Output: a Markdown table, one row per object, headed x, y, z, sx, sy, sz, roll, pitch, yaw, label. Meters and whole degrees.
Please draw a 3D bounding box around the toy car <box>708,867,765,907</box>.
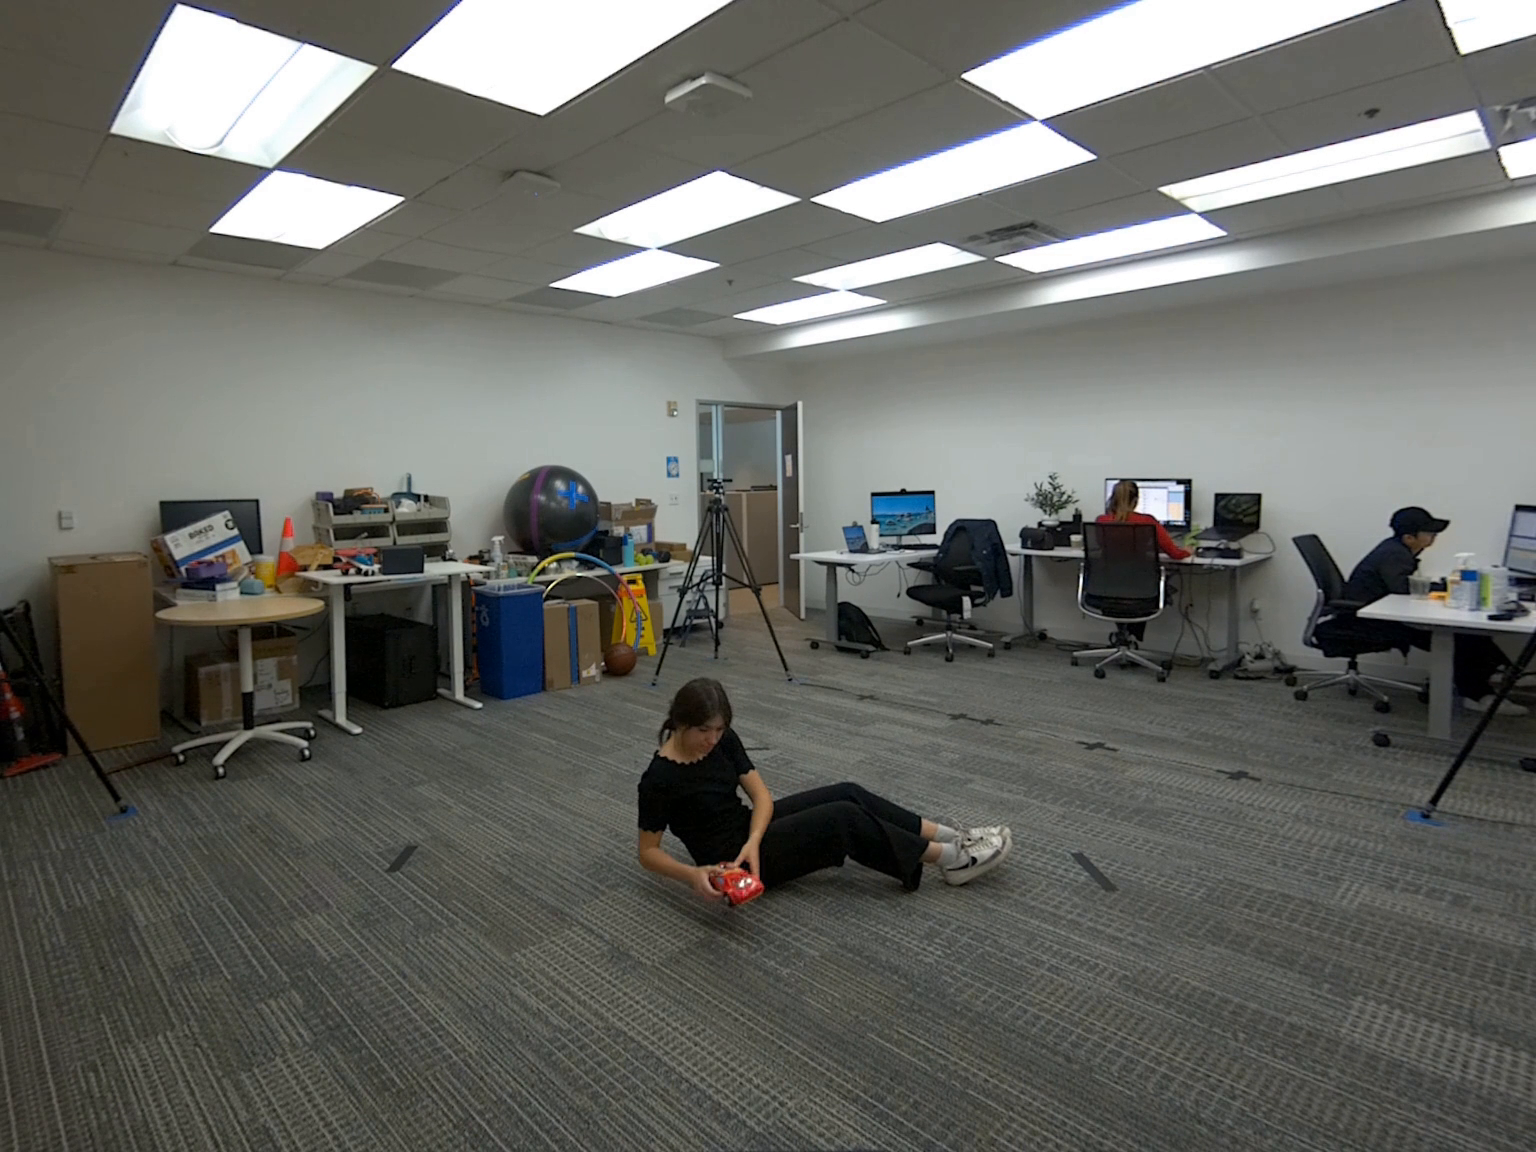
| x | y | z | sx | sy | sz | roll | pitch | yaw | label |
| --- | --- | --- | --- | --- | --- | --- | --- | --- | --- |
| -0.105 | 0.956 | 2.658 | 0.128 | 0.083 | 0.258 | -18 | -2 | -29 | toy car |
